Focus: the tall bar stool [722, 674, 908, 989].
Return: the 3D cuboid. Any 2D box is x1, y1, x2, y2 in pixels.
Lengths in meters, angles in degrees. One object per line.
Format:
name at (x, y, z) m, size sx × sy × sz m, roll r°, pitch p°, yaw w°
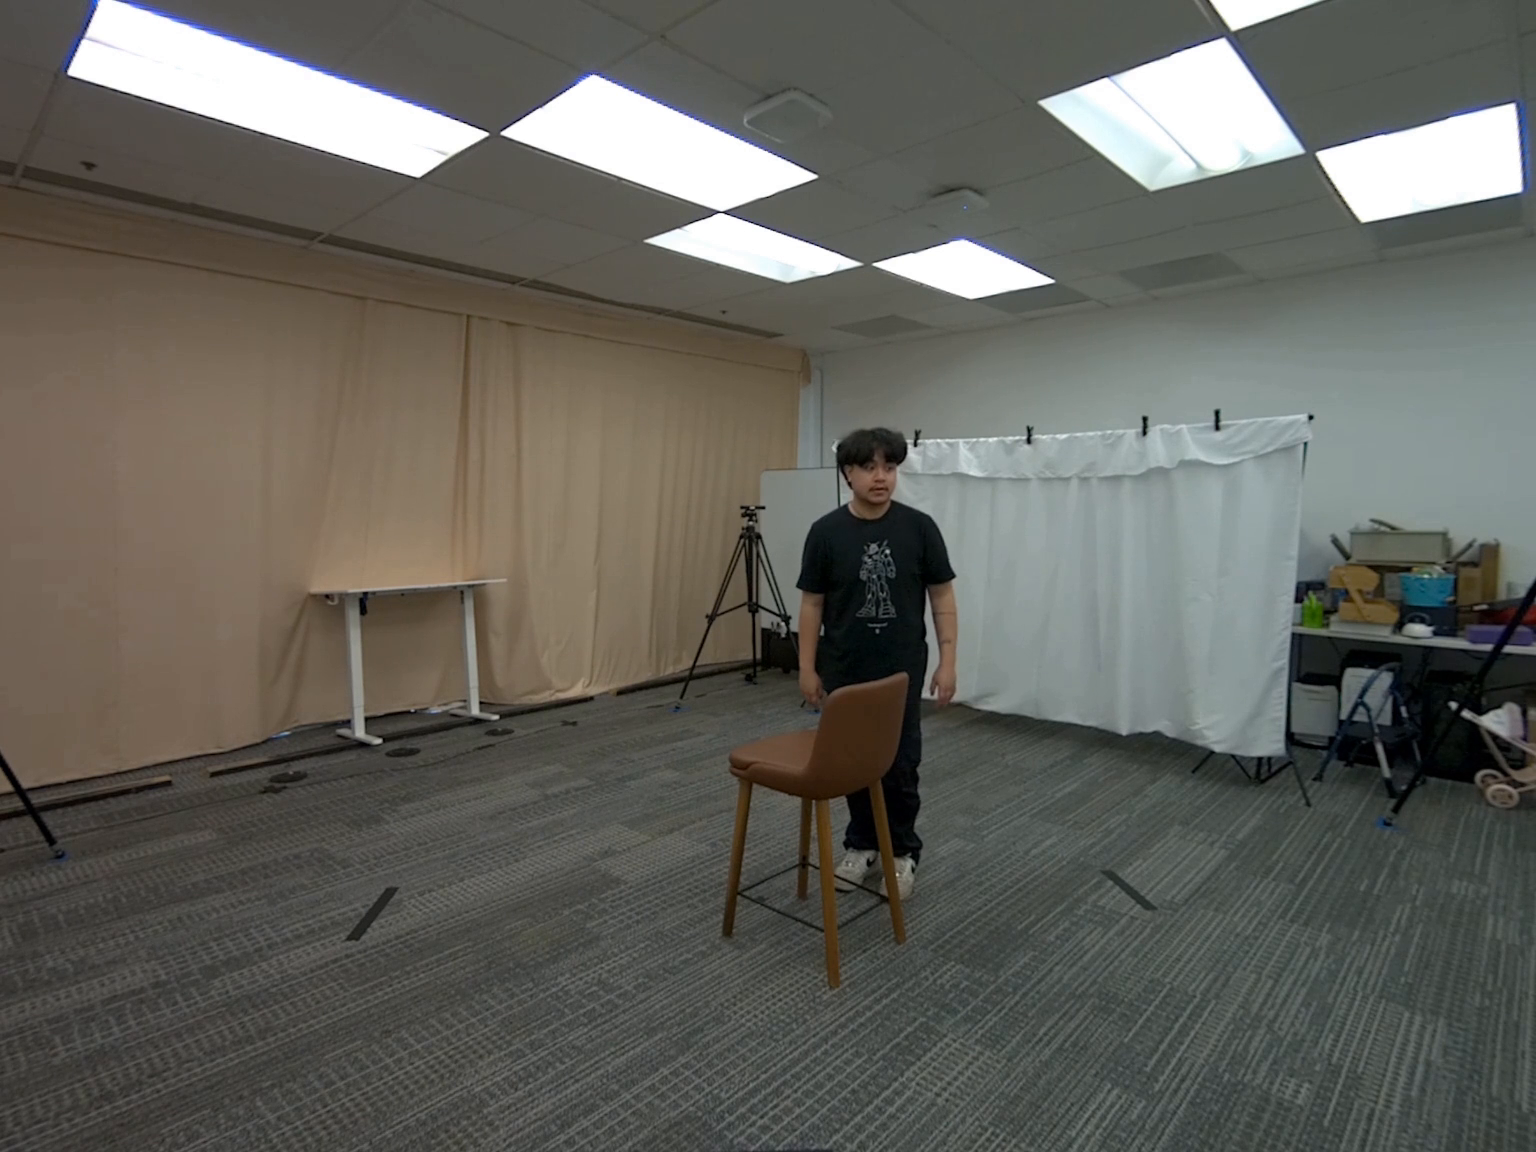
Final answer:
tall bar stool at (0.155, 0.733, 2.681) m, size 0.484 × 0.887 × 0.442 m, roll 7°, pitch 7°, yaw 44°
